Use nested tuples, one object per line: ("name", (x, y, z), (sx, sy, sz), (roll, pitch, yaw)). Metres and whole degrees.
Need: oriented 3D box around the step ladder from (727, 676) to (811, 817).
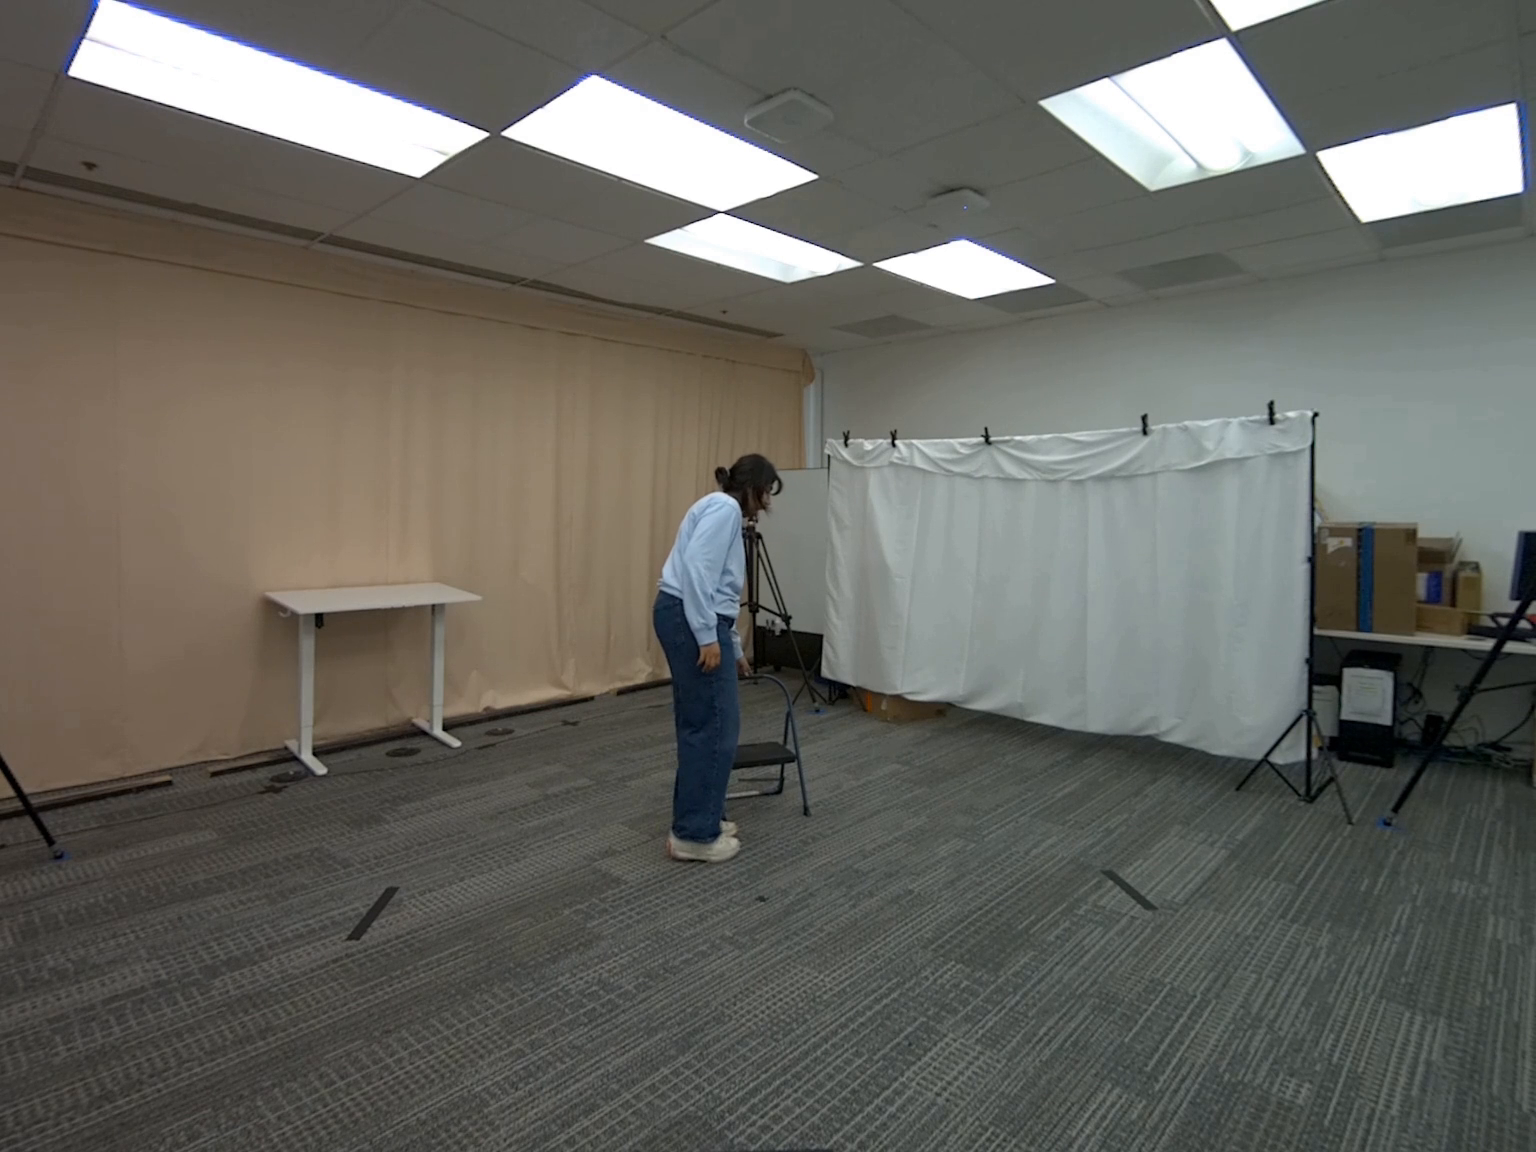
("step ladder", (-0.063, 0.771, 3.872), (0.422, 0.605, 0.357), (-1, 2, -20))
